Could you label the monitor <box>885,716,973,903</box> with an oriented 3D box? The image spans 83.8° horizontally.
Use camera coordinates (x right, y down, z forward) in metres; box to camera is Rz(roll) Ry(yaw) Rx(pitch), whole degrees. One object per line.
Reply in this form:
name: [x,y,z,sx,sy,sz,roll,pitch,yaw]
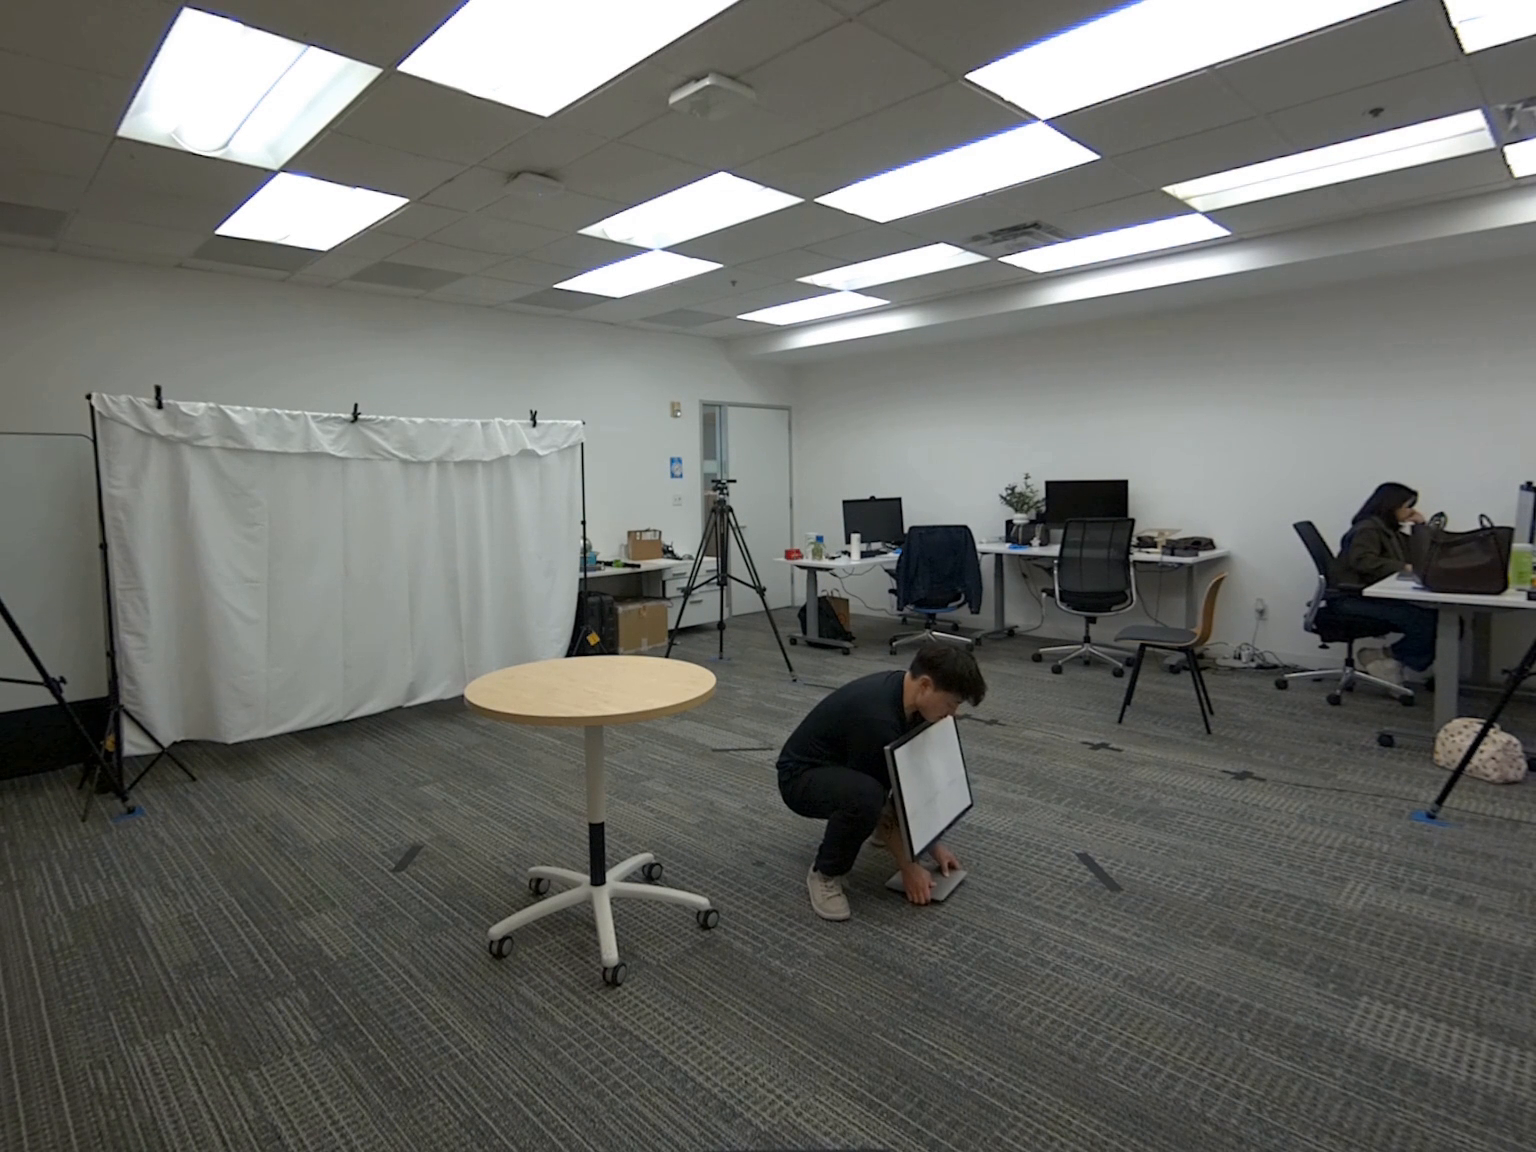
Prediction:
monitor: [0.526,0.778,2.900,0.192,0.521,0.527,0,5,32]
